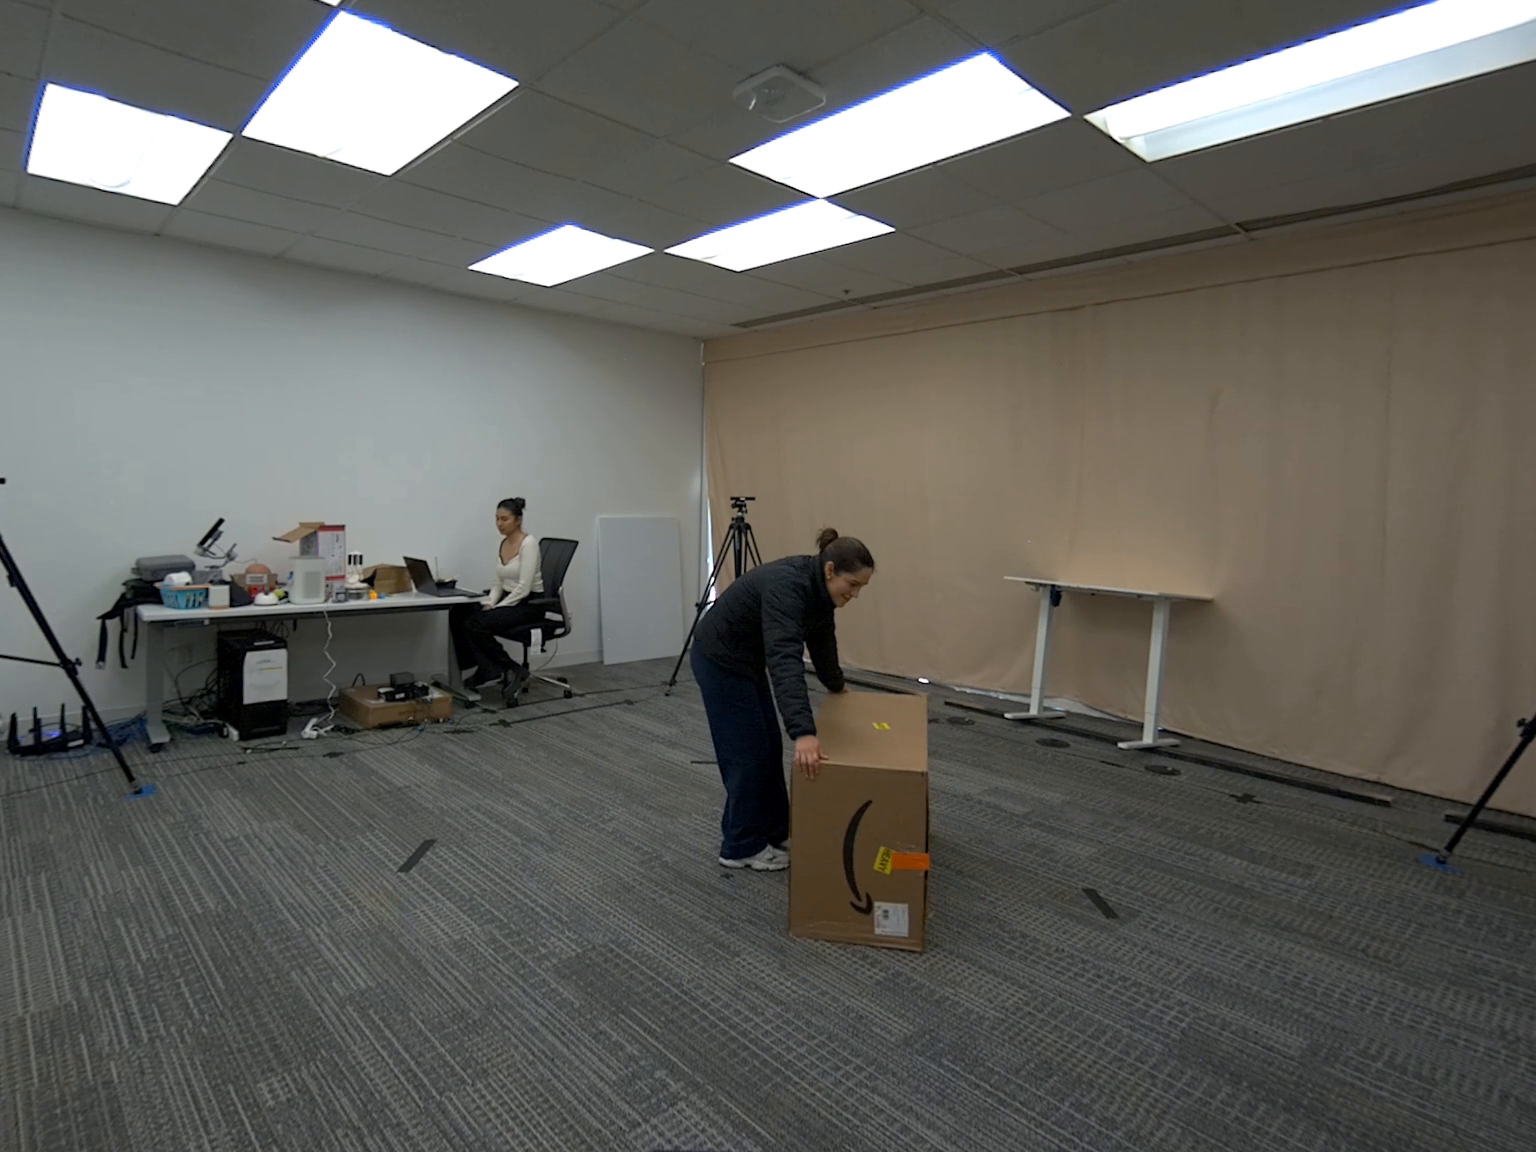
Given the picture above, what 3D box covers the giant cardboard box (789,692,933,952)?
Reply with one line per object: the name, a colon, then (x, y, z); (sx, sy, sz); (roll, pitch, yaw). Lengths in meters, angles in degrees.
giant cardboard box: (0.373, 0.829, 3.107); (0.451, 0.582, 1.021); (2, 5, 10)
